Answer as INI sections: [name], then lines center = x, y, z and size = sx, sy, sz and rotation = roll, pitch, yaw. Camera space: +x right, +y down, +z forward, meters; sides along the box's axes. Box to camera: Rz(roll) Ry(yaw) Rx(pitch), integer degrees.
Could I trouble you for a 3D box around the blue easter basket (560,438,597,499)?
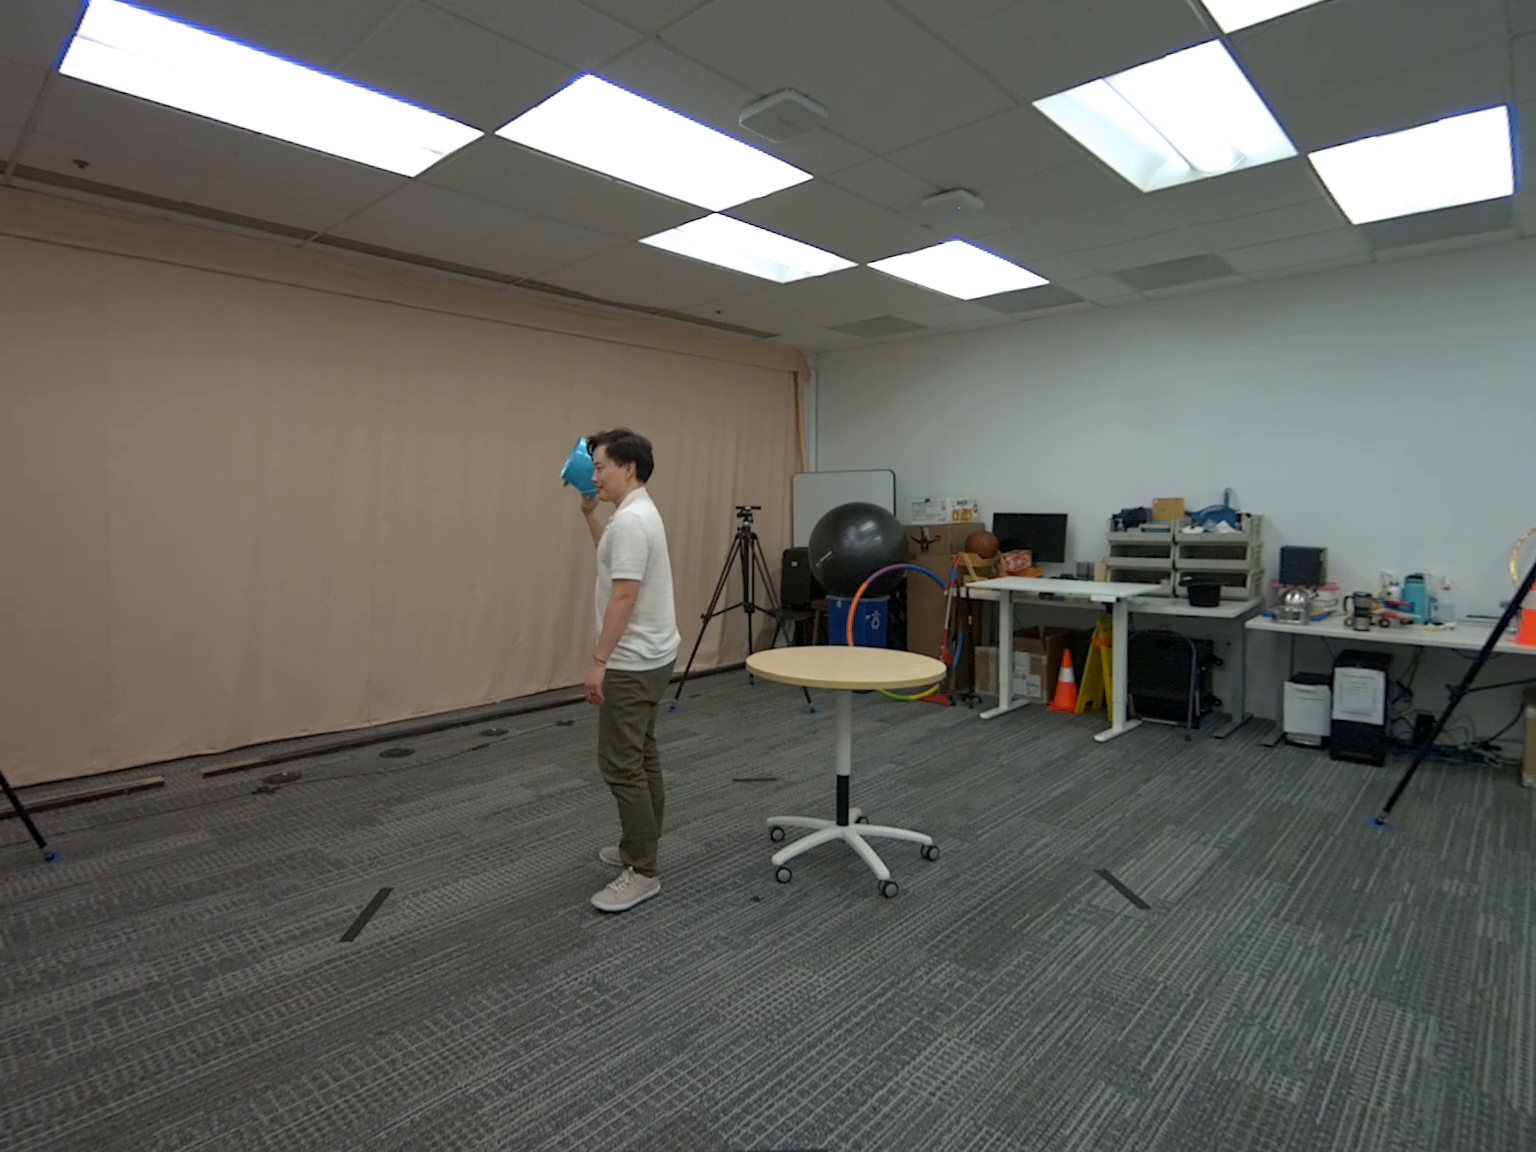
[blue easter basket]
center = -0.721, -0.438, 3.384
size = 0.153, 0.244, 0.248
rotation = 26, -5, -19
